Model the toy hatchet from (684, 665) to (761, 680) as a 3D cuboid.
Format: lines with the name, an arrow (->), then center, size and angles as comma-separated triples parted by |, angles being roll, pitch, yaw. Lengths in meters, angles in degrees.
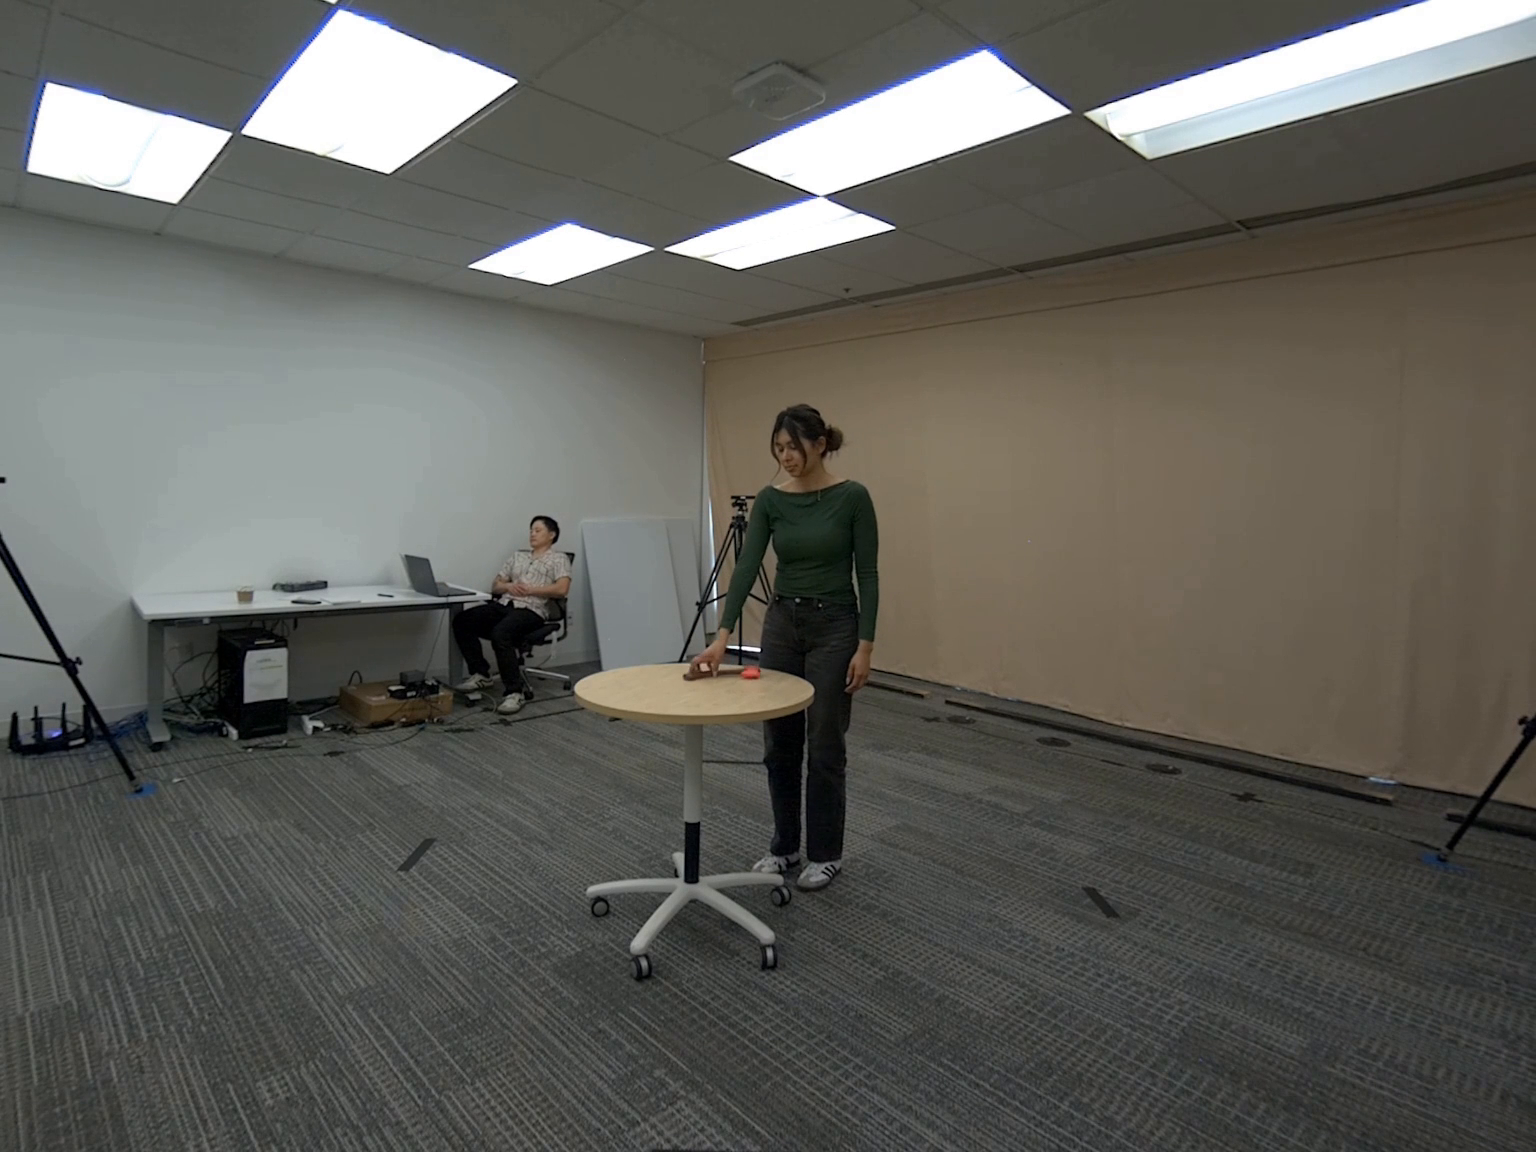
toy hatchet -> -0.143, 0.336, 2.816 | 0.264, 0.029, 0.134 | -5, 9, -36
